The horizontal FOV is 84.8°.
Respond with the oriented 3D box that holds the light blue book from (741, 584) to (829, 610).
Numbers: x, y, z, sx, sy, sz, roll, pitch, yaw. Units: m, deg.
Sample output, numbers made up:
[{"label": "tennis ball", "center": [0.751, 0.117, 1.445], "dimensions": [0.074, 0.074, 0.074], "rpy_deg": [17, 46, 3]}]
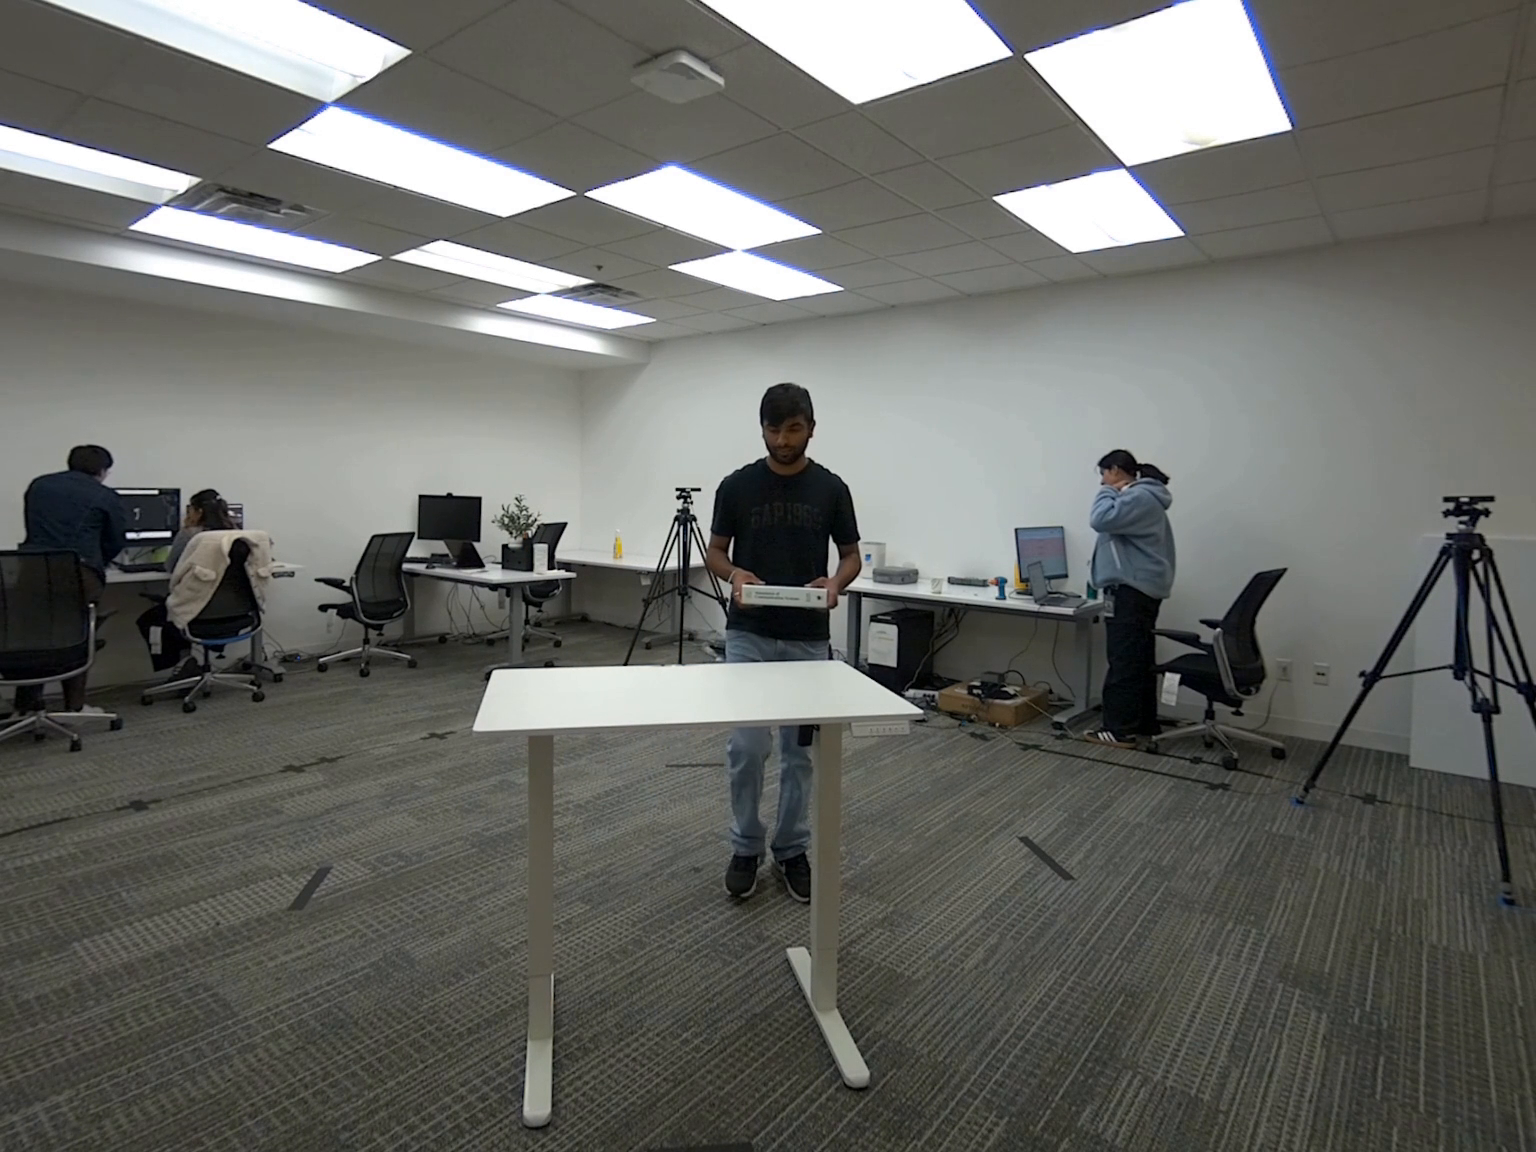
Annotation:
[{"label": "light blue book", "center": [0.046, 0.059, 2.699], "dimensions": [0.262, 0.059, 0.190], "rpy_deg": [2, 1, 3]}]
